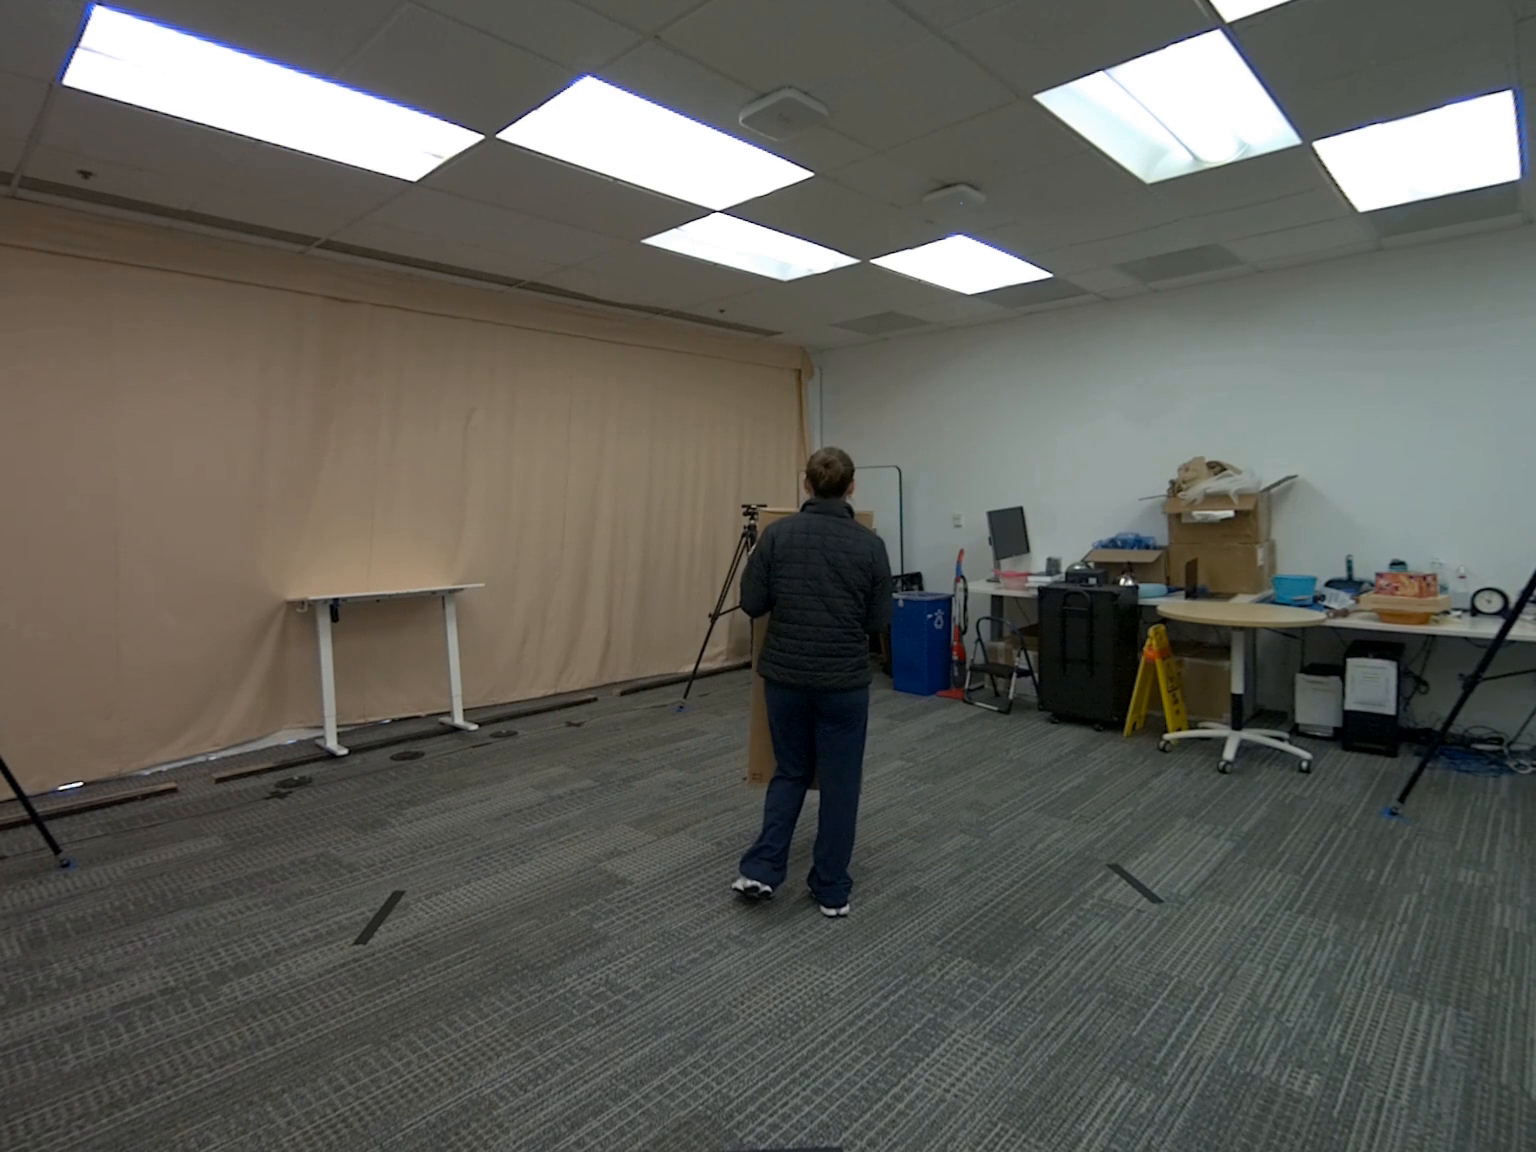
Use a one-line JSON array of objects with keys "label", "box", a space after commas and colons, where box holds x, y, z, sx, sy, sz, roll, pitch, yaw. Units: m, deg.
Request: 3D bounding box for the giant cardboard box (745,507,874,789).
[{"label": "giant cardboard box", "box": [0.185, 0.261, 3.348, 0.430, 1.025, 0.573, 3, 0, 6]}]
